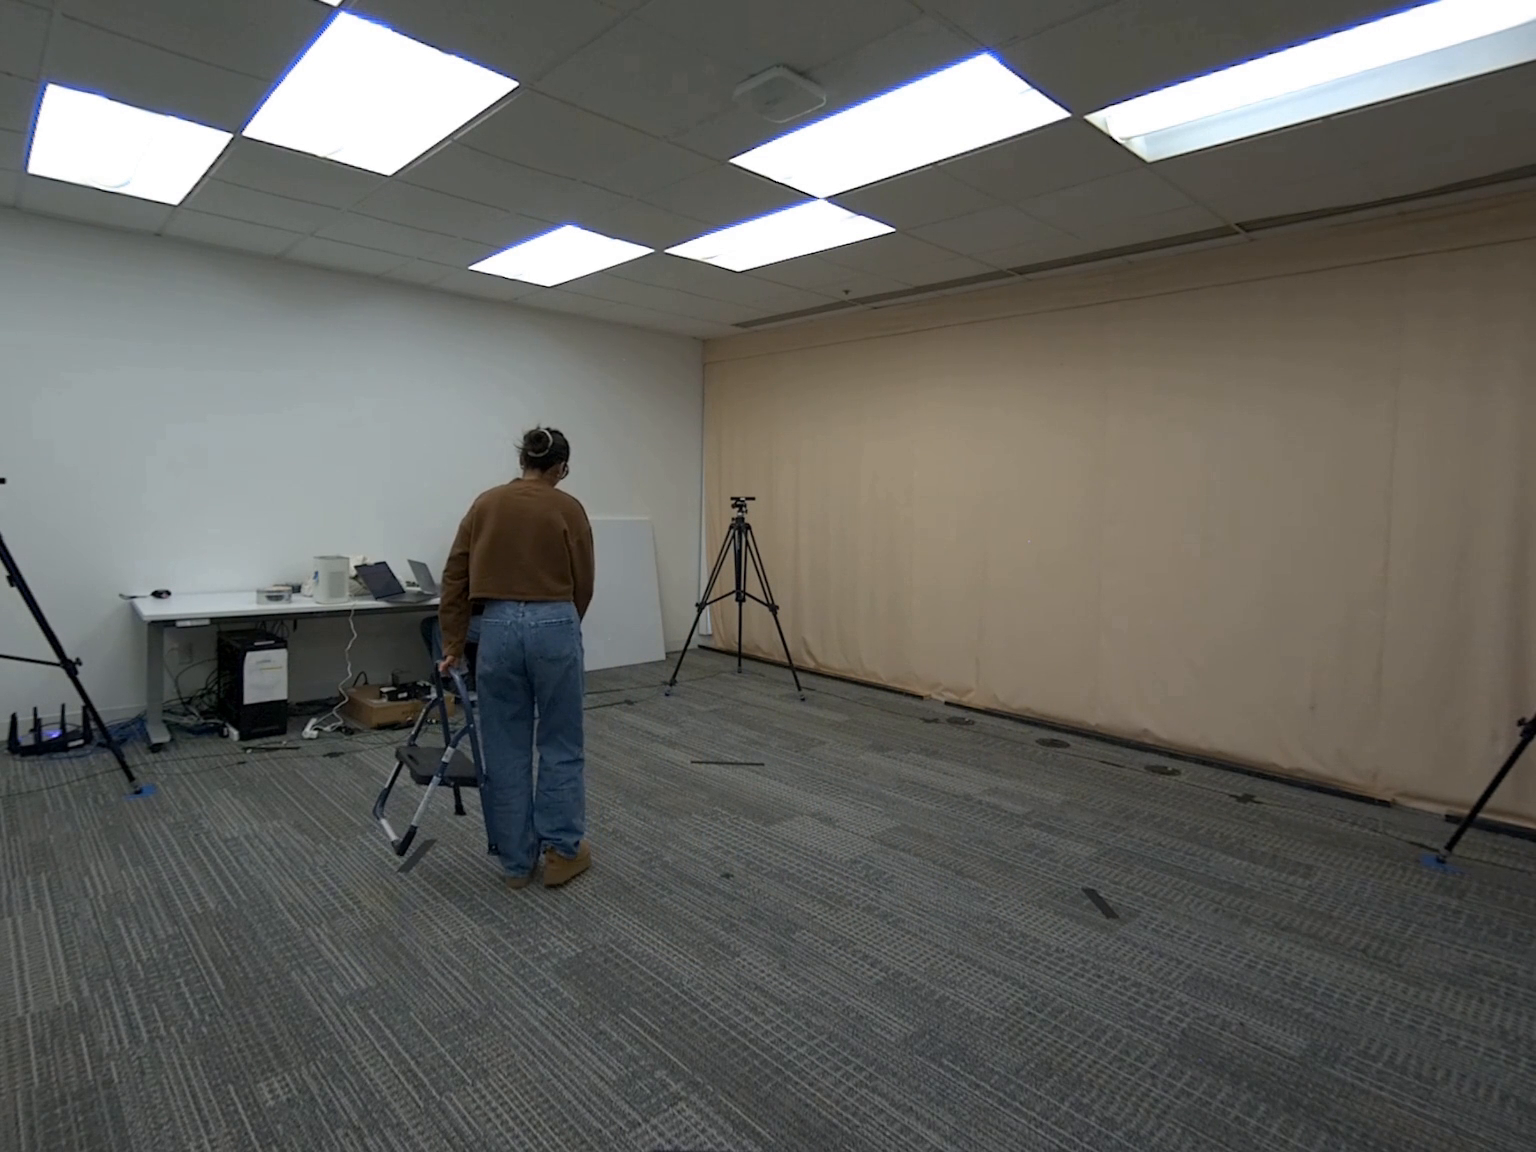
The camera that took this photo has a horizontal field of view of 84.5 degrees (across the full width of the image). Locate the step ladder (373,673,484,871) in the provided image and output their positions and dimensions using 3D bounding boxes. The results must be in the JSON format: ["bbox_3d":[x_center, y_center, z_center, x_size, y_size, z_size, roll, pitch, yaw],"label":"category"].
[{"bbox_3d":[-1.144,0.628,3.000,0.340,0.607,0.441,12,-3,-37],"label":"step ladder"}]
